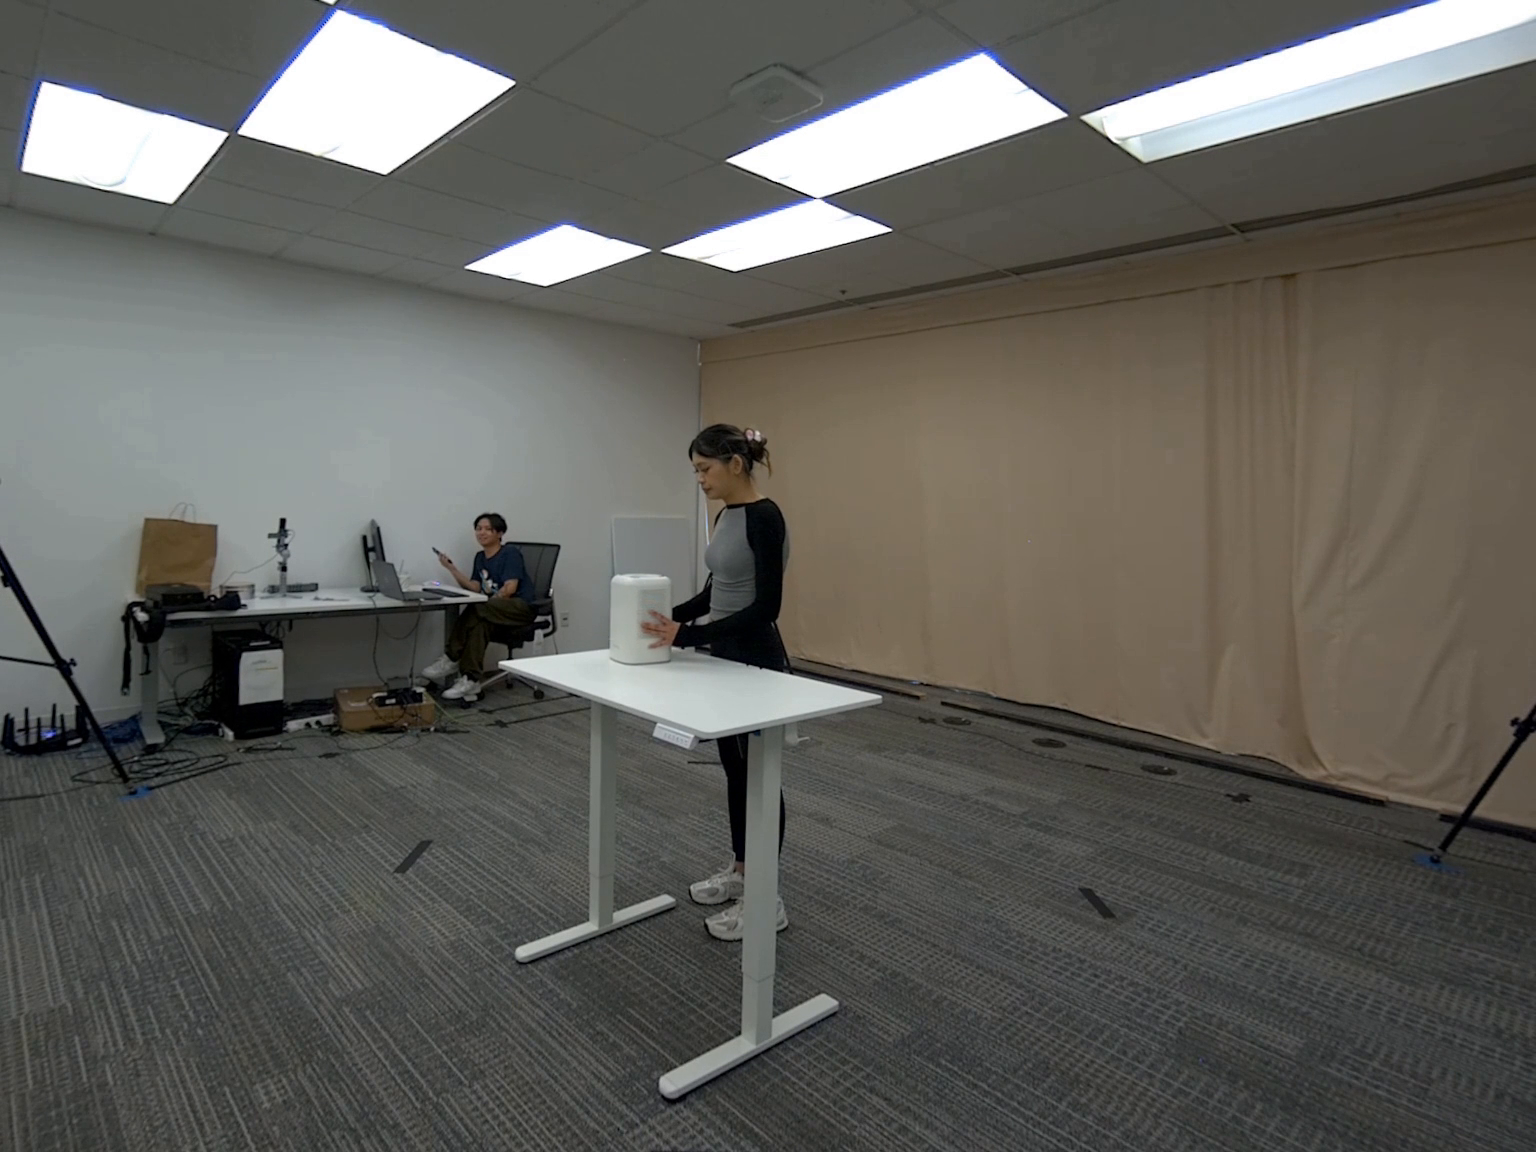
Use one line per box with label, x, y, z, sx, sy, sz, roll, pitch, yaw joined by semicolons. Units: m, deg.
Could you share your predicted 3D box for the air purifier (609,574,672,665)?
air purifier;-0.400;0.130;2.643;0.168;0.265;0.175;0;2;-32
